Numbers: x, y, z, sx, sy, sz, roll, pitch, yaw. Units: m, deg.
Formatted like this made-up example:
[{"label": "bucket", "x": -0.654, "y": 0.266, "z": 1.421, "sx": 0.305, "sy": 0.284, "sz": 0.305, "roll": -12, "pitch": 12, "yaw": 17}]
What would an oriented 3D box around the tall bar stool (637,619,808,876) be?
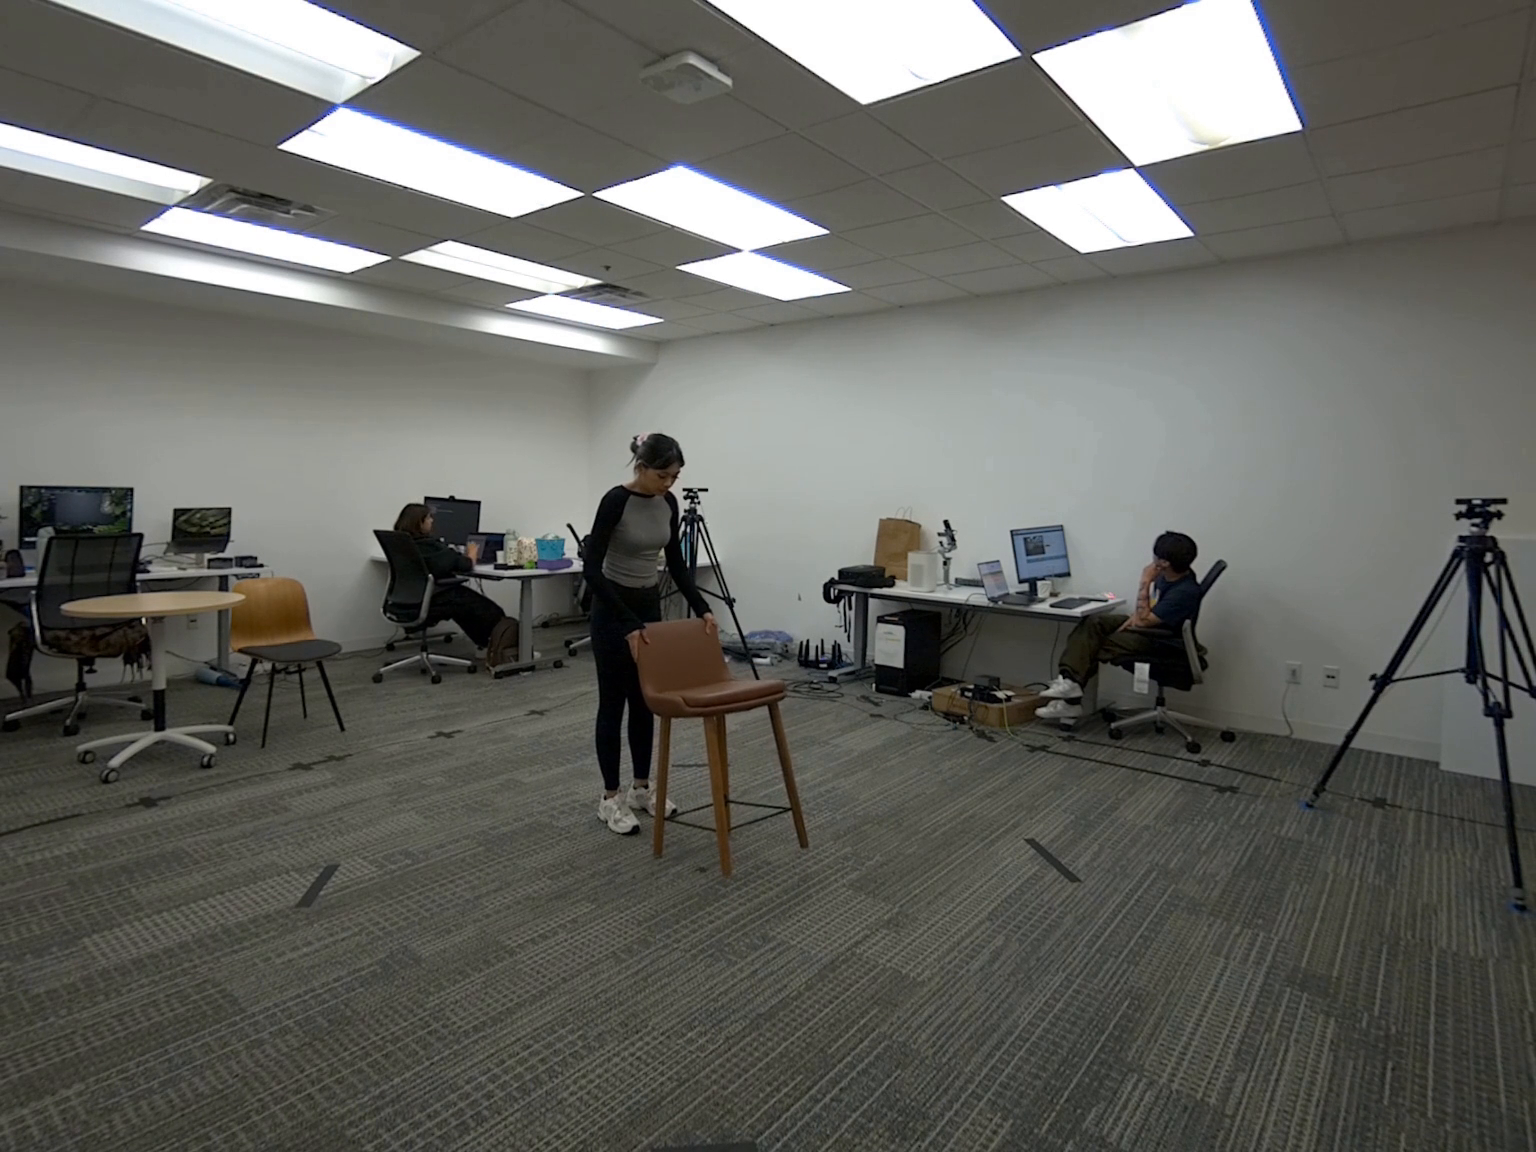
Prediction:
[{"label": "tall bar stool", "x": -0.205, "y": 0.593, "z": 3.216, "sx": 0.443, "sy": 0.896, "sz": 0.479, "roll": -2, "pitch": -8, "yaw": -42}]
